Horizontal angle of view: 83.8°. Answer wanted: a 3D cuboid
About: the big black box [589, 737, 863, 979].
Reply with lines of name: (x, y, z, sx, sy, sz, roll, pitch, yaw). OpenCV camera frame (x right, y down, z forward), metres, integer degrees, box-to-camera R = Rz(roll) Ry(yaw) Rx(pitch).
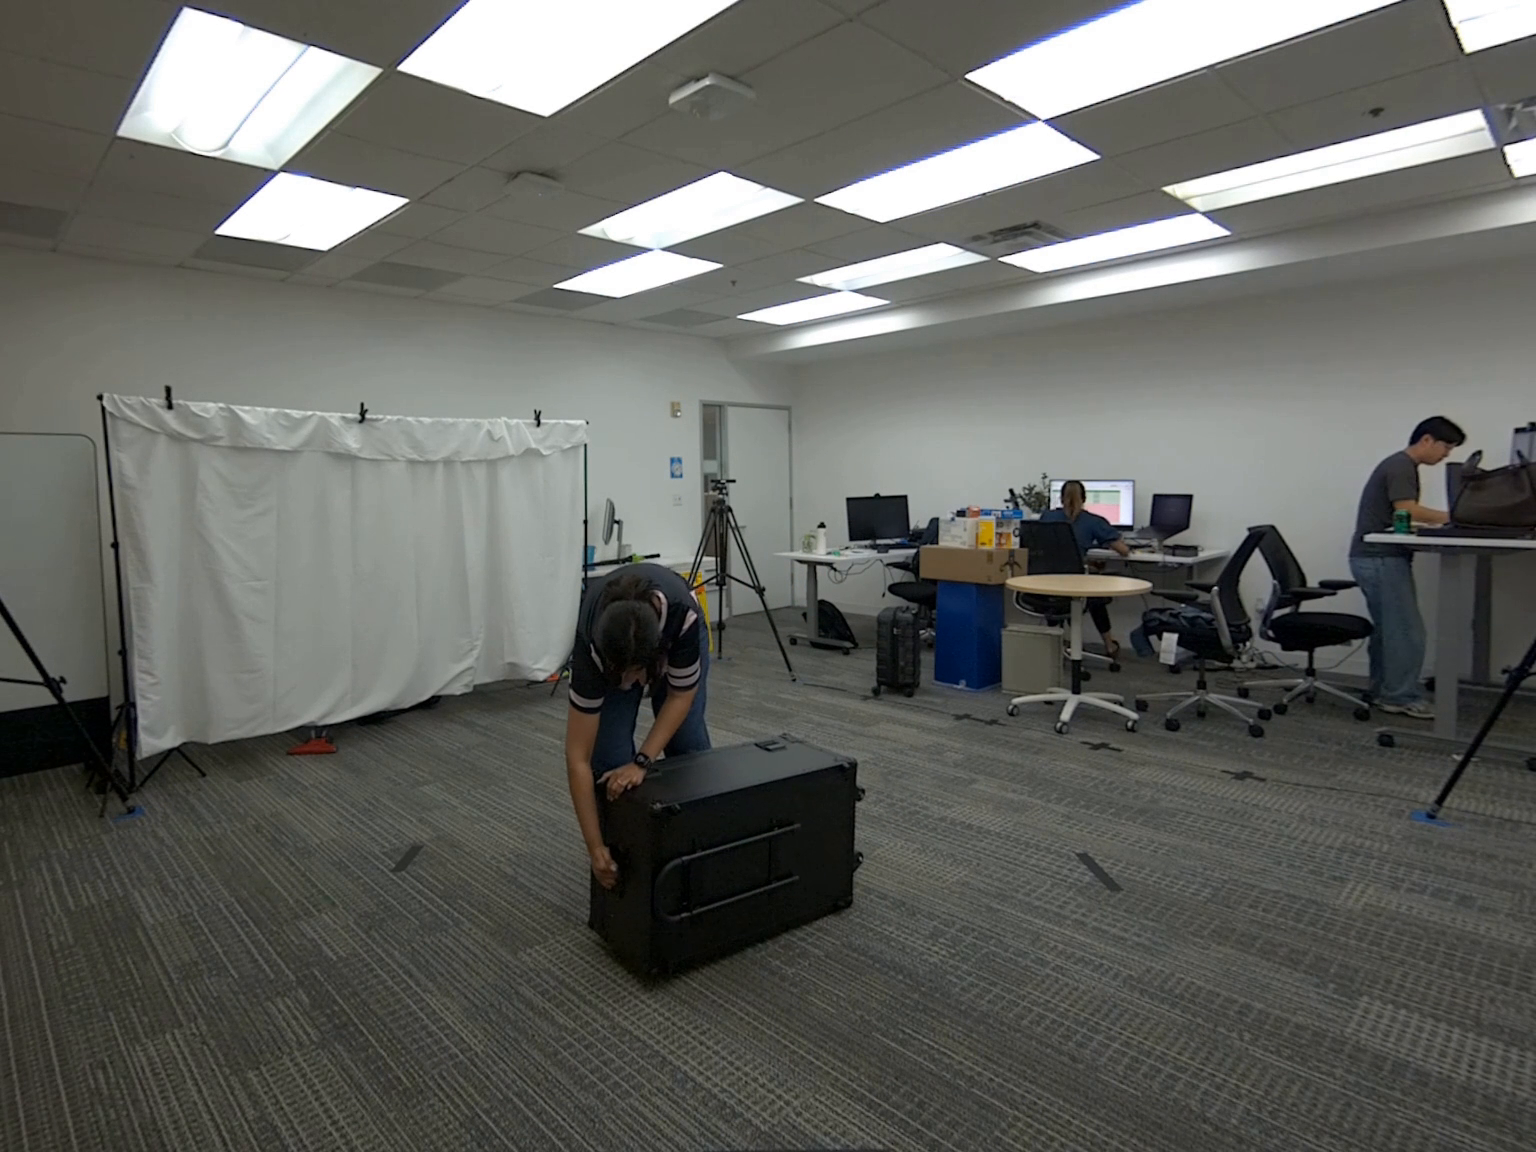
big black box: (-0.091, 0.825, 2.699, 0.845, 0.522, 0.396, -3, 3, -39)
